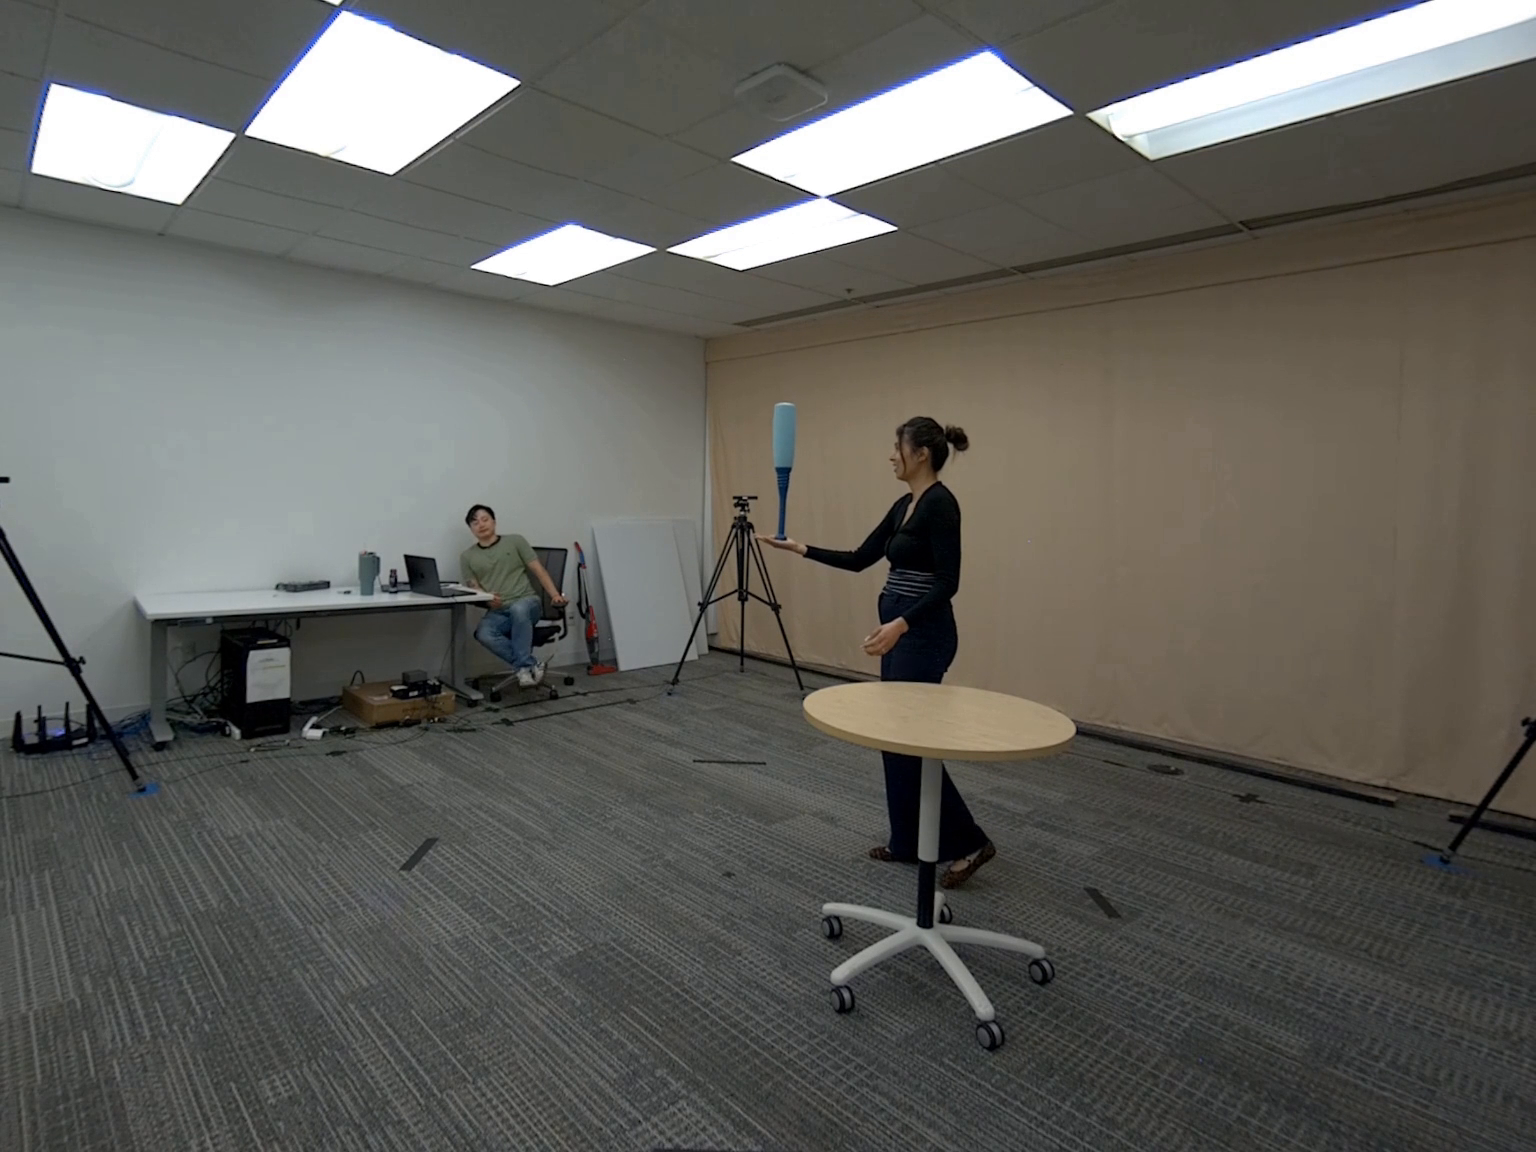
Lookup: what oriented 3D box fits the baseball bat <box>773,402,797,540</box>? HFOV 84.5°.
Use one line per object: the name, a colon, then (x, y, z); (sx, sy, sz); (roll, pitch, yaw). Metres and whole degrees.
baseball bat: (0.063, -0.407, 3.310); (0.089, 0.542, 0.089); (2, 2, -1)
